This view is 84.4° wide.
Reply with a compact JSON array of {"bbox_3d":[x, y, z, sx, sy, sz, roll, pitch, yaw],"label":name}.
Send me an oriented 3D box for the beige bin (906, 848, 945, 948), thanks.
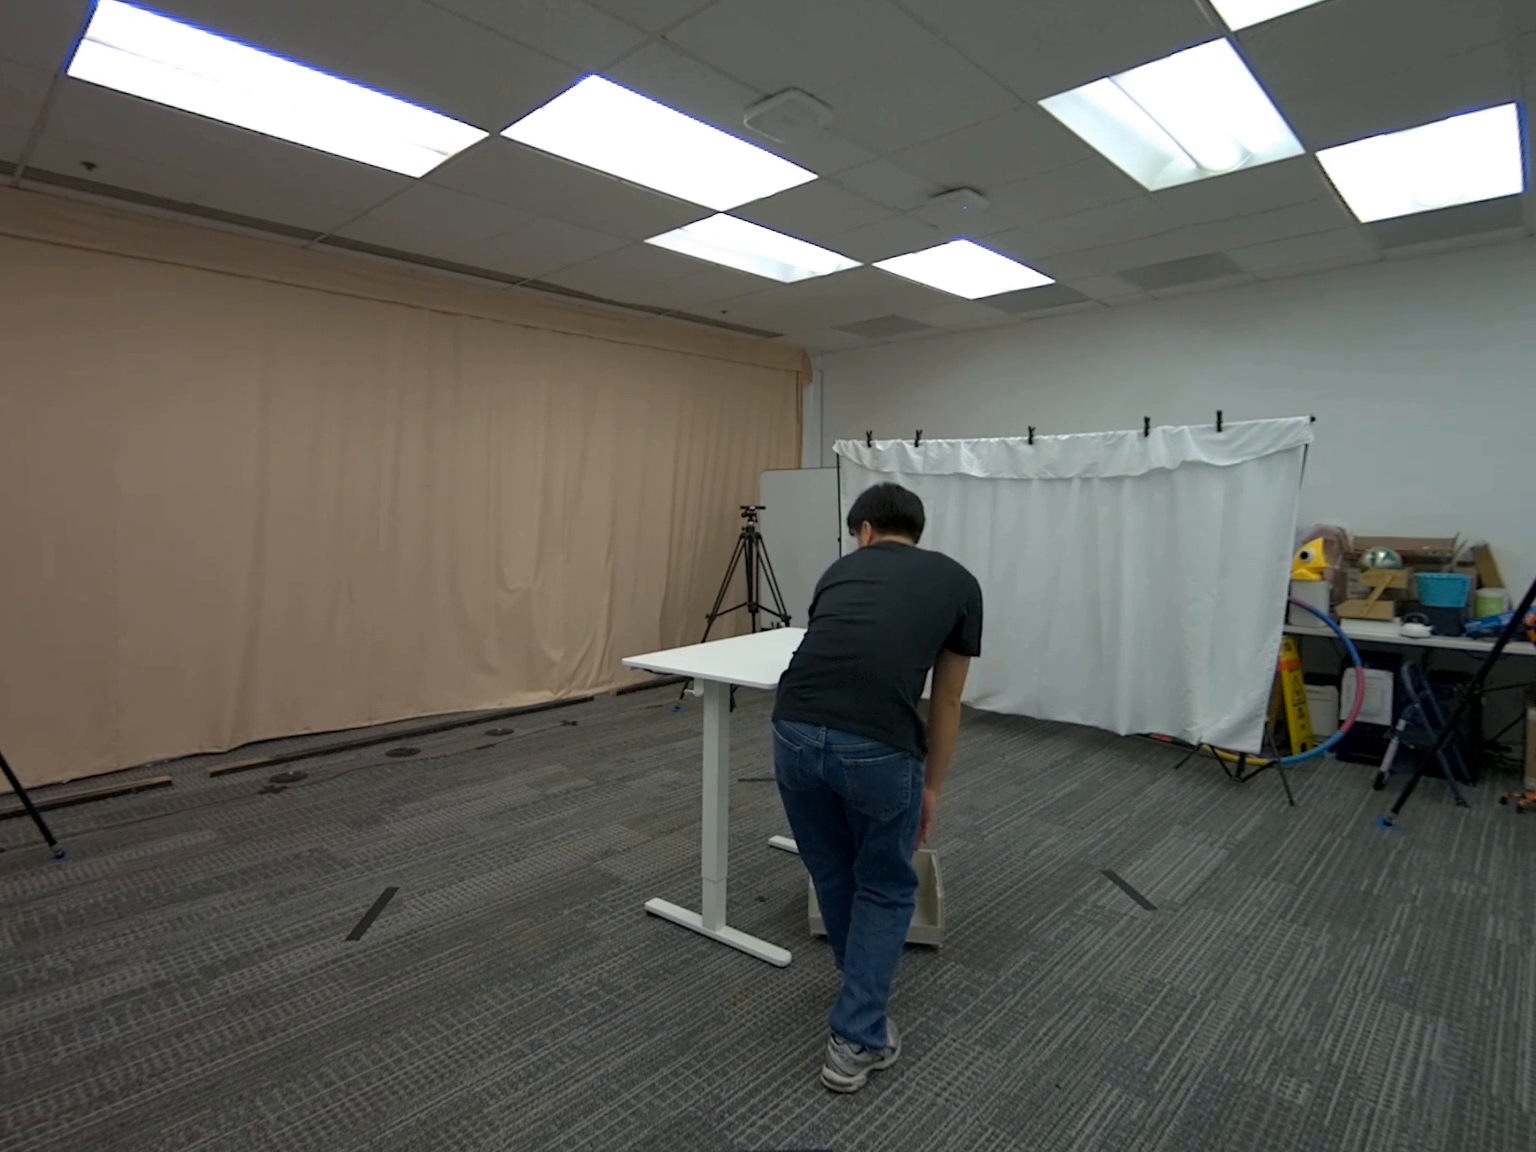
[{"bbox_3d":[0.365,1.067,2.814,0.427,0.188,0.374,0,5,10],"label":"beige bin"}]
